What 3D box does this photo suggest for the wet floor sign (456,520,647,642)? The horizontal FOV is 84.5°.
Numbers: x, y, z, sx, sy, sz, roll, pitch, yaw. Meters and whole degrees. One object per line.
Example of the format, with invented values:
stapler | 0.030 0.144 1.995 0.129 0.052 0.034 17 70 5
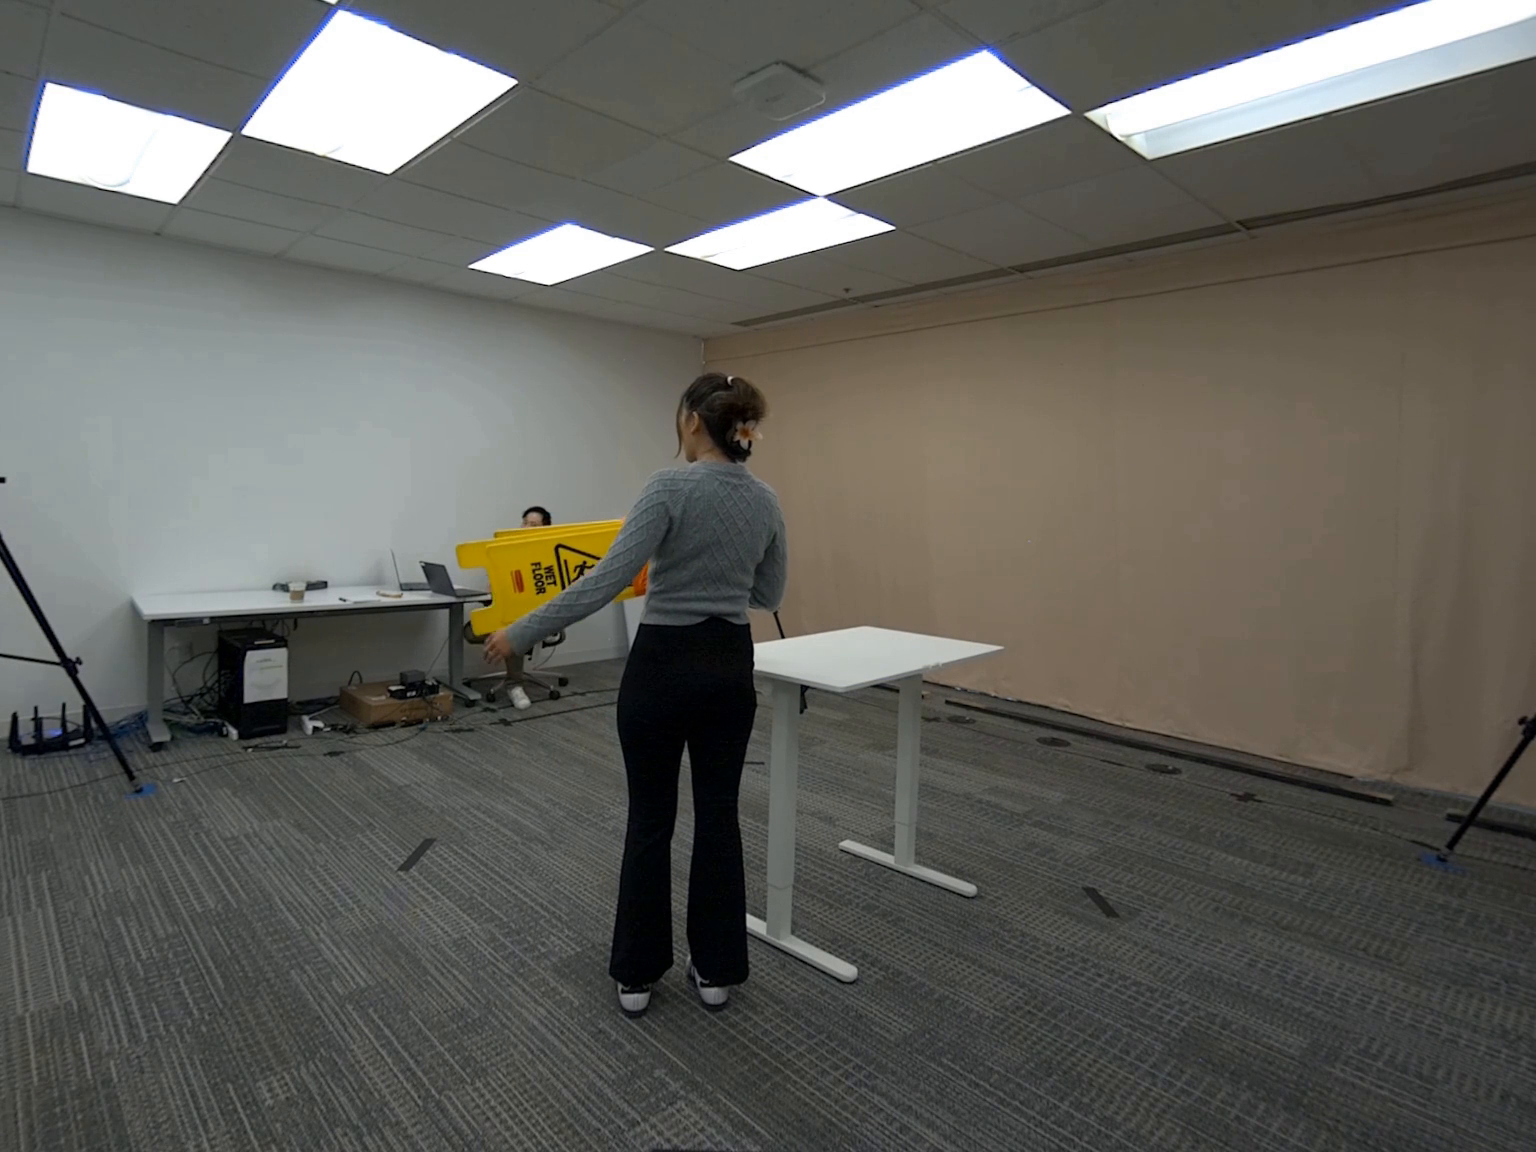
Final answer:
wet floor sign | -0.567 -0.031 2.576 0.649 0.280 0.290 -9 8 8
